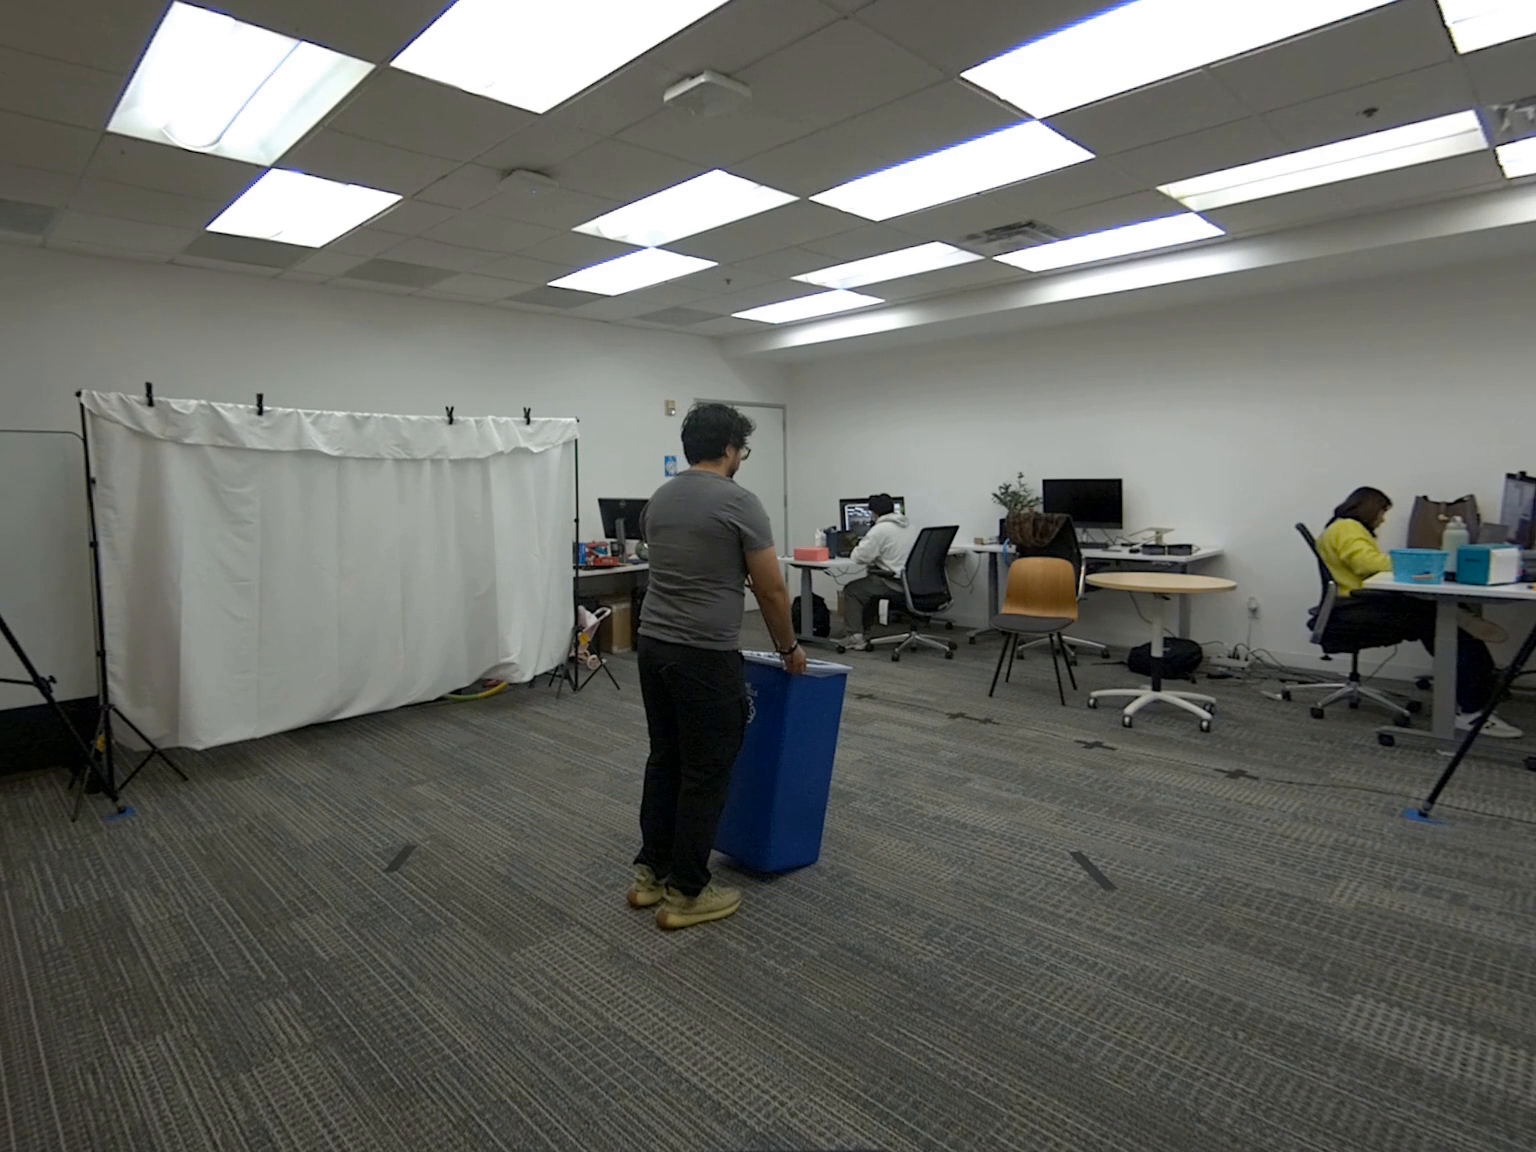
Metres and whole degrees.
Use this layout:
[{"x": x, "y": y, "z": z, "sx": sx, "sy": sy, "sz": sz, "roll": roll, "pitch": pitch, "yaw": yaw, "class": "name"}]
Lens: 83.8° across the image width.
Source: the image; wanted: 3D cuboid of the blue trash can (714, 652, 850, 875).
[{"x": 0.026, "y": 0.661, "z": 3.134, "sx": 0.390, "sy": 0.716, "sz": 0.361, "roll": 4, "pitch": -5, "yaw": 42, "class": "blue trash can"}]
